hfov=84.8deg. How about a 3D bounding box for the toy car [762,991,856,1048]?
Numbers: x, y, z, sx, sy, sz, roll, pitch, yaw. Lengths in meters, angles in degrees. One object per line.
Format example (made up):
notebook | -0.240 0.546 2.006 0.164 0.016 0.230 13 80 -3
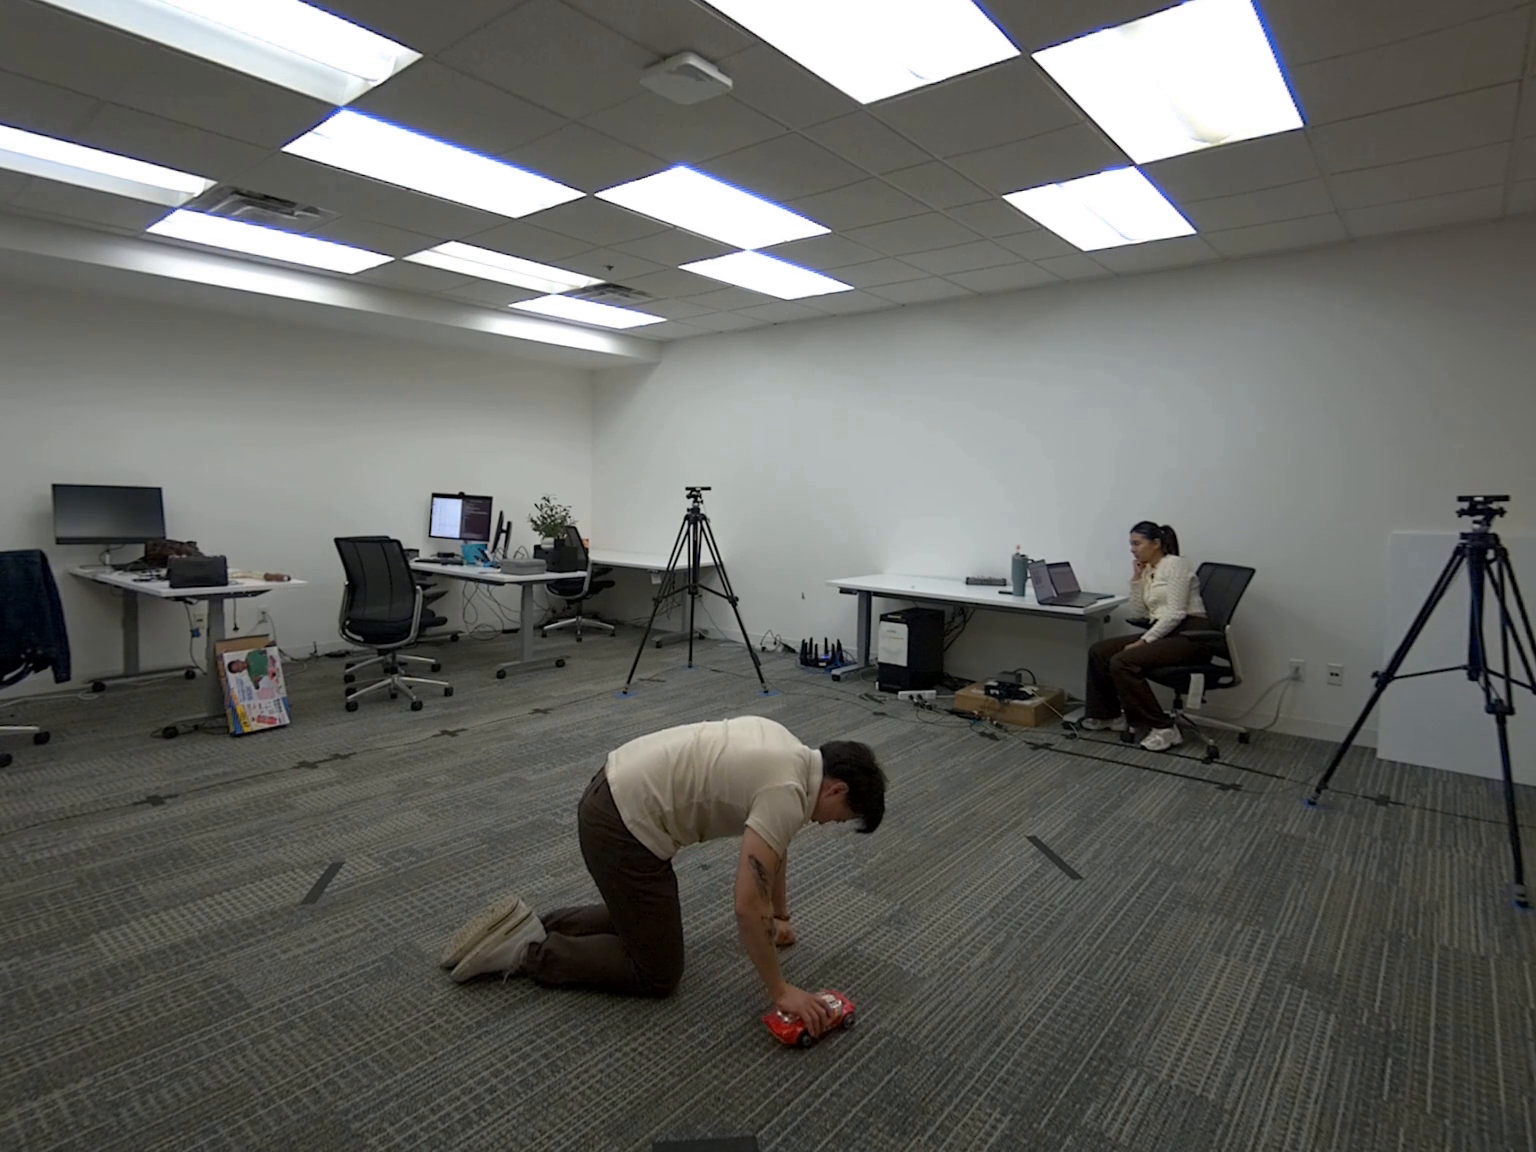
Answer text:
toy car | 0.095 1.136 2.187 0.246 0.083 0.134 9 0 -32
